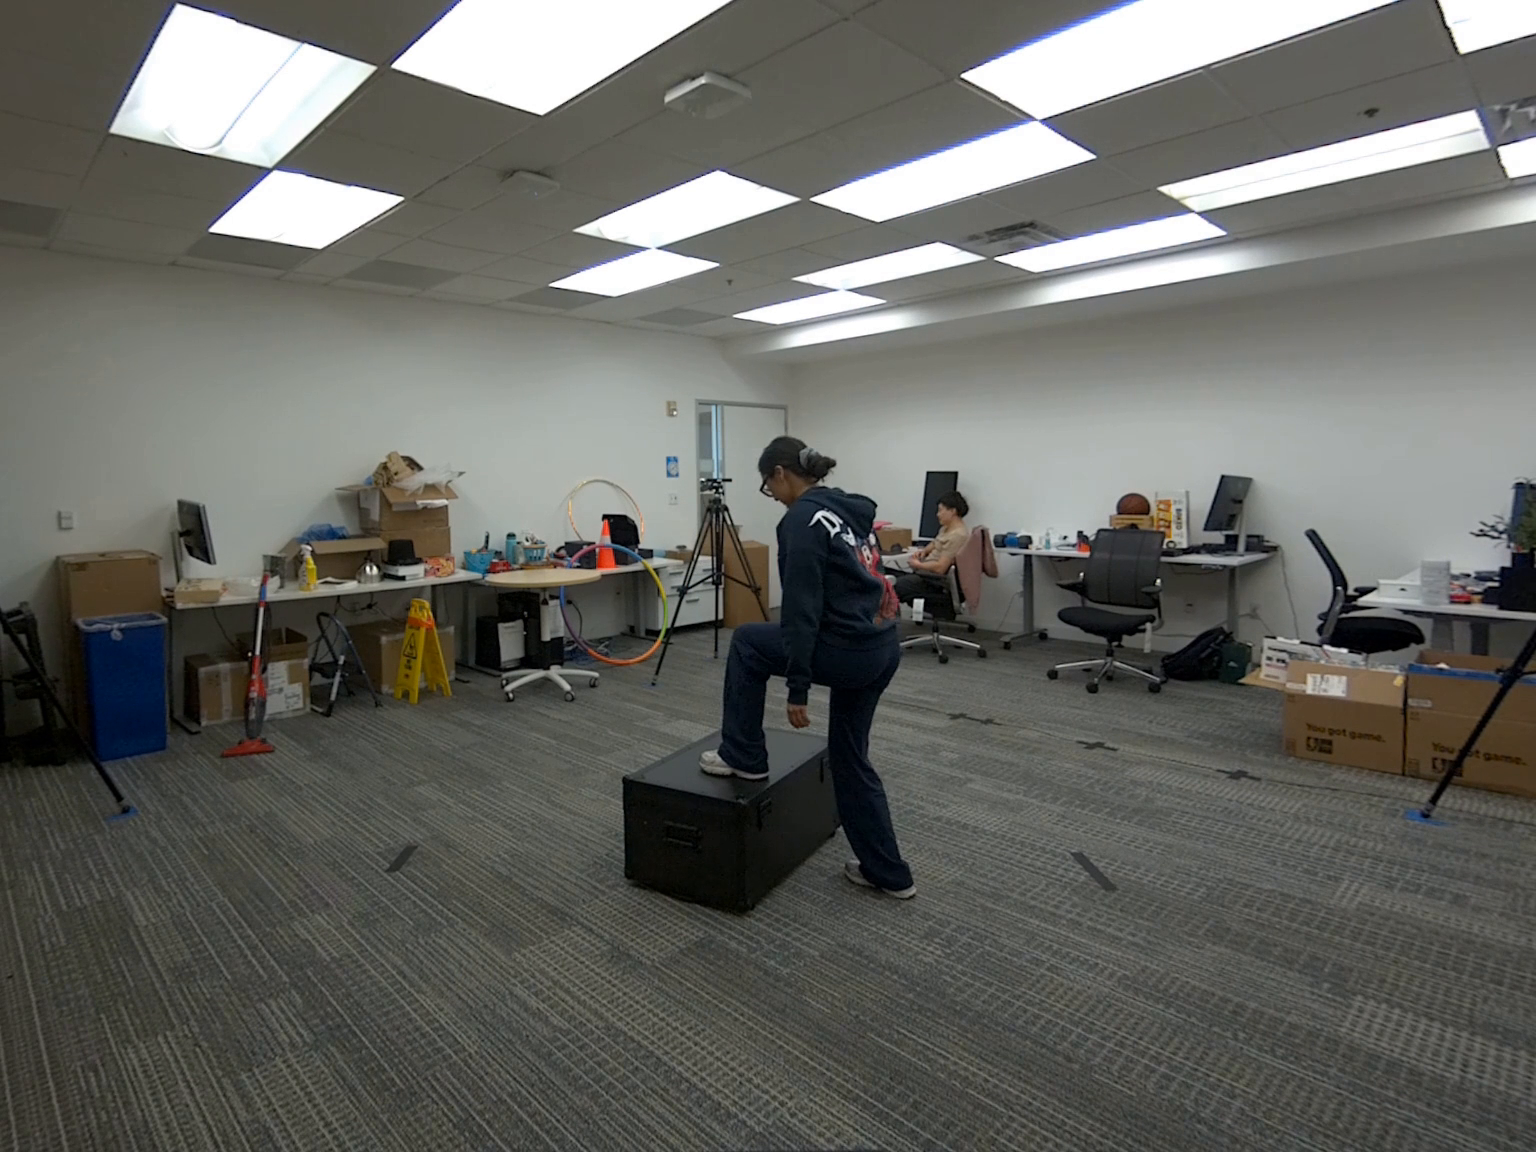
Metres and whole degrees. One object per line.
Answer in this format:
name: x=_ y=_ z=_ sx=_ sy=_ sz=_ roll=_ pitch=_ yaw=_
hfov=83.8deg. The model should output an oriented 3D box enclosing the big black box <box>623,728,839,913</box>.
big black box: x=-0.086 y=0.848 z=3.181 sx=0.534 sy=0.394 sz=0.844 roll=2 pitch=7 yaw=28
